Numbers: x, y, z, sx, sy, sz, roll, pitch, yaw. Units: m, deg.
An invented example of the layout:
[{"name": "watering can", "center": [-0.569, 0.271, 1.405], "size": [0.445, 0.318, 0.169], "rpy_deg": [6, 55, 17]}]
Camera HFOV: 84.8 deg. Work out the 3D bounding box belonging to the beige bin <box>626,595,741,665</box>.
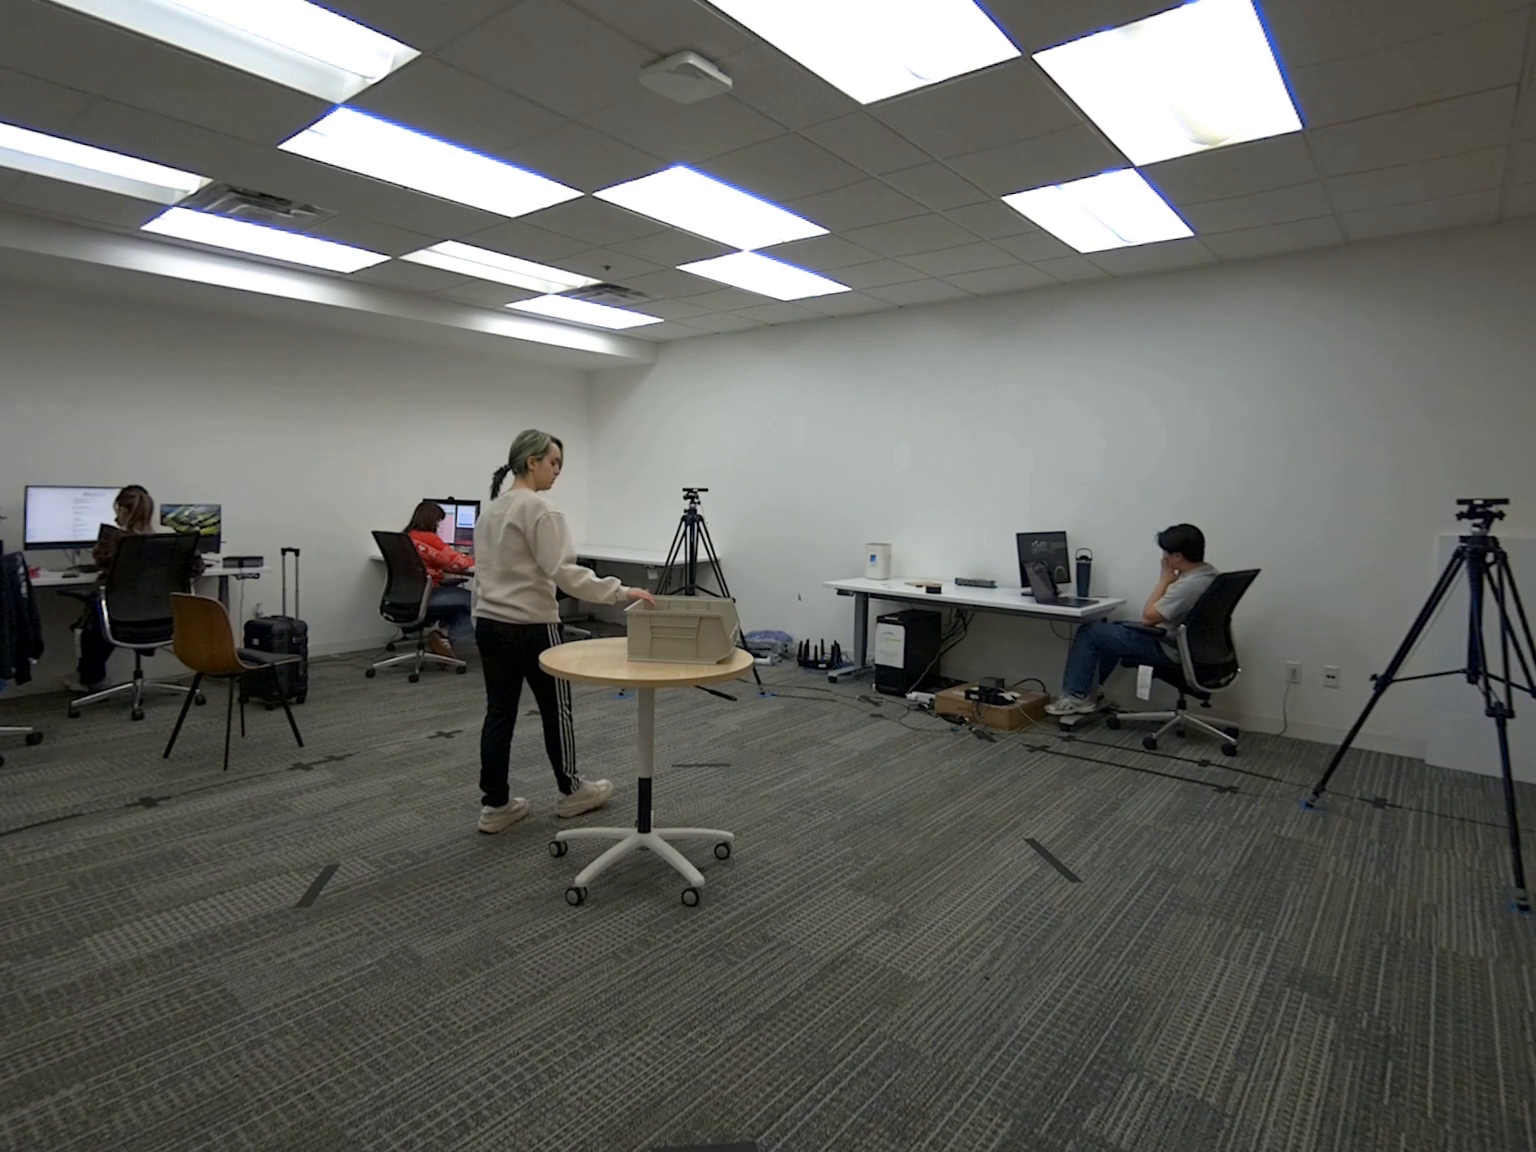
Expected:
[{"name": "beige bin", "center": [-0.319, 0.187, 3.142], "size": [0.379, 0.188, 0.423], "rpy_deg": [0, 6, 3]}]
